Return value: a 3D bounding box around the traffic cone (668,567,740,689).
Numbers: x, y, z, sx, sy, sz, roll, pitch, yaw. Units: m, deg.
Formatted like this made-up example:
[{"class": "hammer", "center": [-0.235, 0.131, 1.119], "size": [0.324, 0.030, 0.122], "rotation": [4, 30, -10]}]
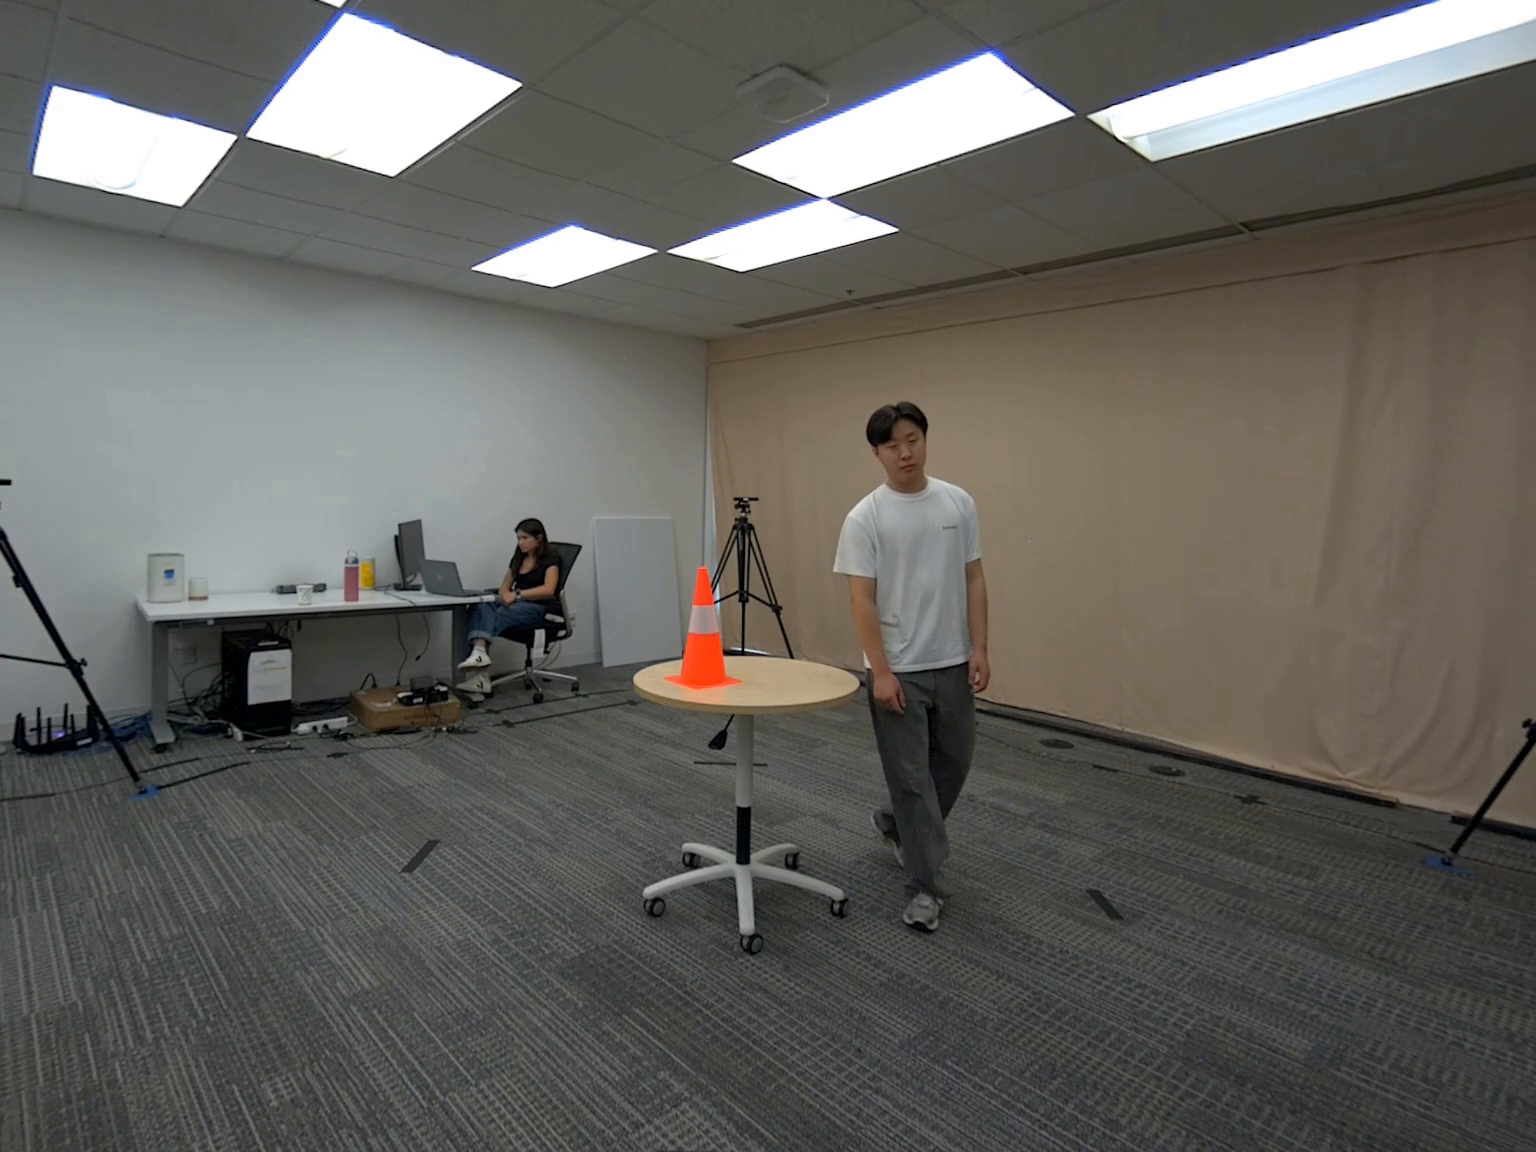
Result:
[{"class": "traffic cone", "center": [-0.213, 0.166, 2.798], "size": [0.208, 0.383, 0.200], "rotation": [5, 5, 42]}]
